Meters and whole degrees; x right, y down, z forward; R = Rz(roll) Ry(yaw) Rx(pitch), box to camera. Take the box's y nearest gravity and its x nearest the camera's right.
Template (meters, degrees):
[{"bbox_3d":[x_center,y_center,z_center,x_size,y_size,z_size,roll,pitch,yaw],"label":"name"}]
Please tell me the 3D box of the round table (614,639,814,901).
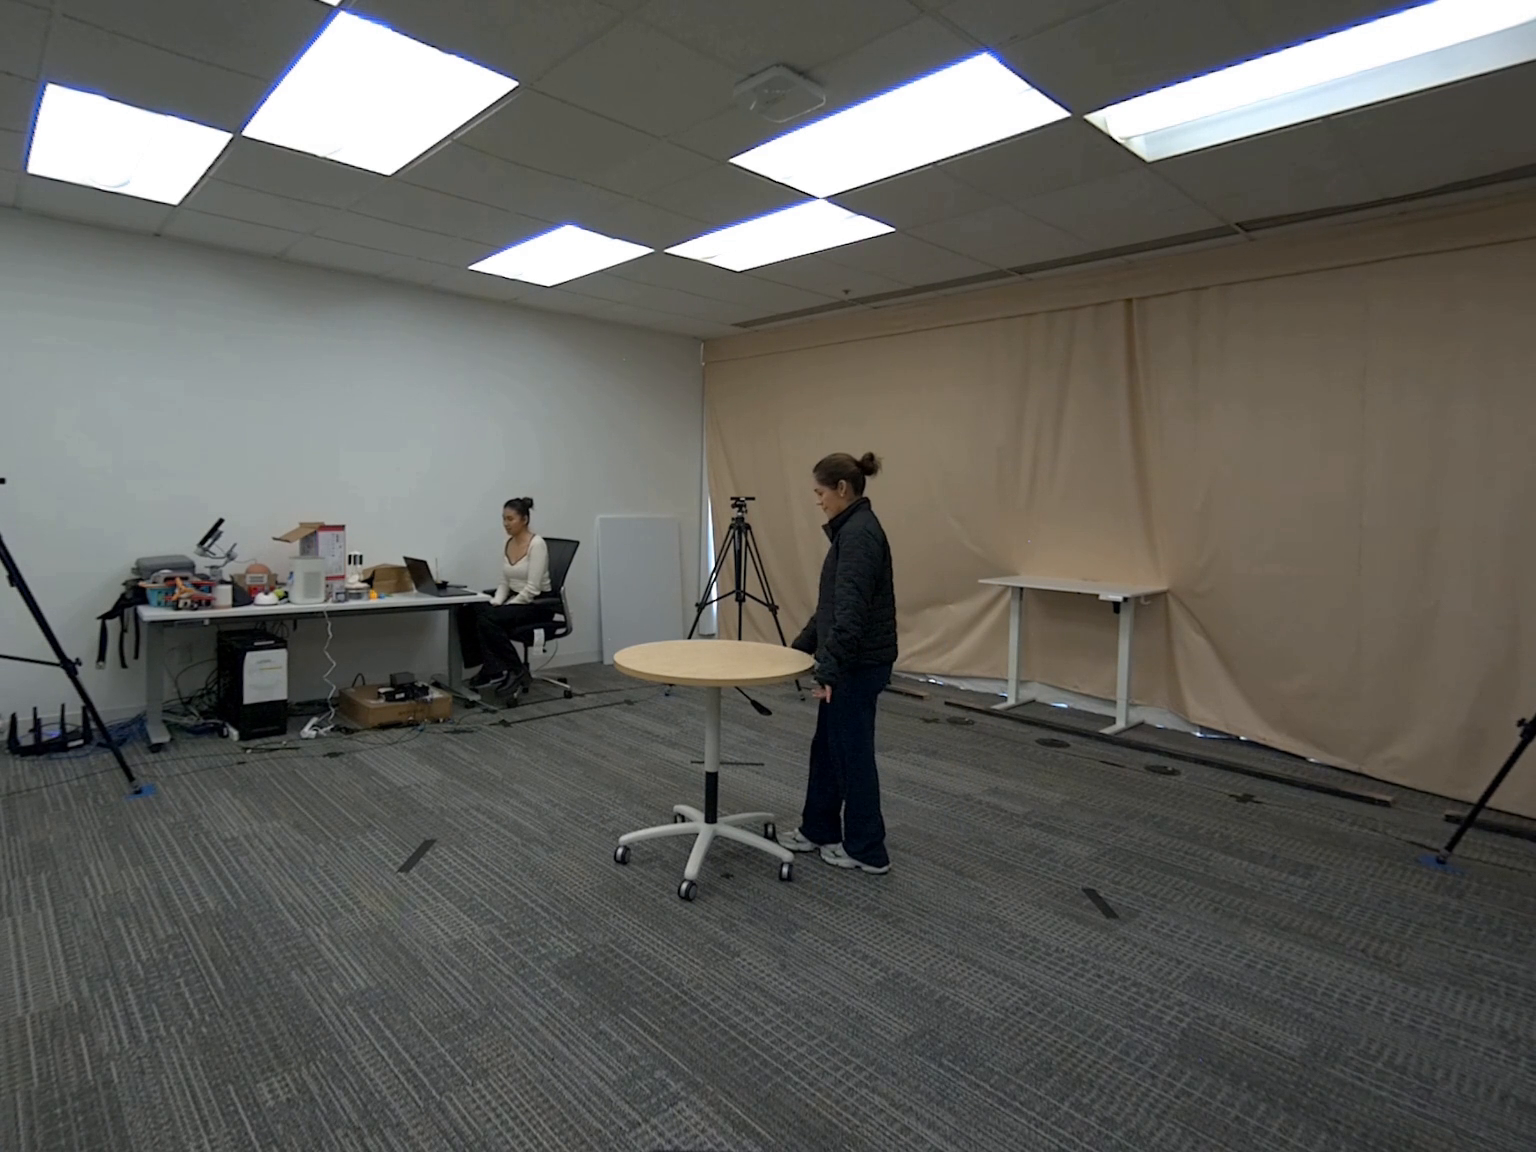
[{"bbox_3d":[-0.206,0.696,3.241,0.784,0.784,0.788,1,4,-1],"label":"round table"}]
